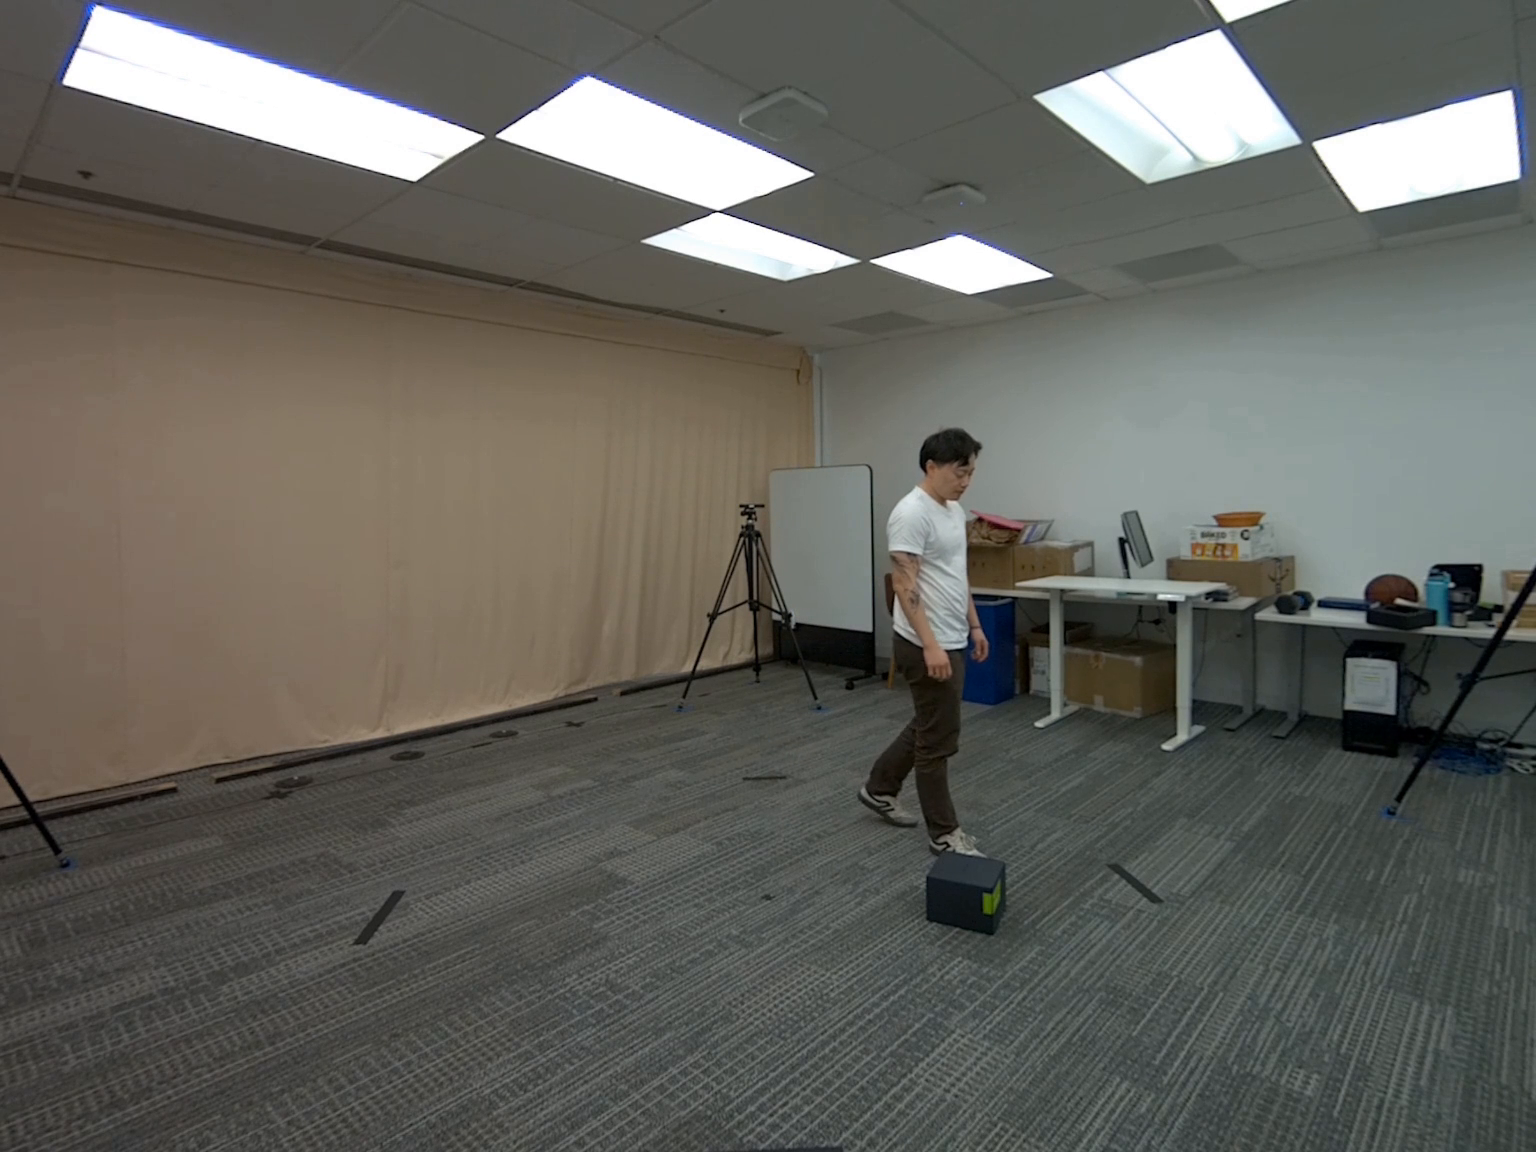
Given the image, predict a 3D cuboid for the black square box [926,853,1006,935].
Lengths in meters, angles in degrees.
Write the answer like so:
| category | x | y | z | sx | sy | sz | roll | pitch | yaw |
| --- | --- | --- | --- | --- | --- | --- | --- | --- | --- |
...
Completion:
| category | x | y | z | sx | sy | sz | roll | pitch | yaw |
| --- | --- | --- | --- | --- | --- | --- | --- | --- | --- |
| black square box | 0.672 | 1.056 | 2.832 | 0.223 | 0.155 | 0.222 | 1 | 5 | 27 |
